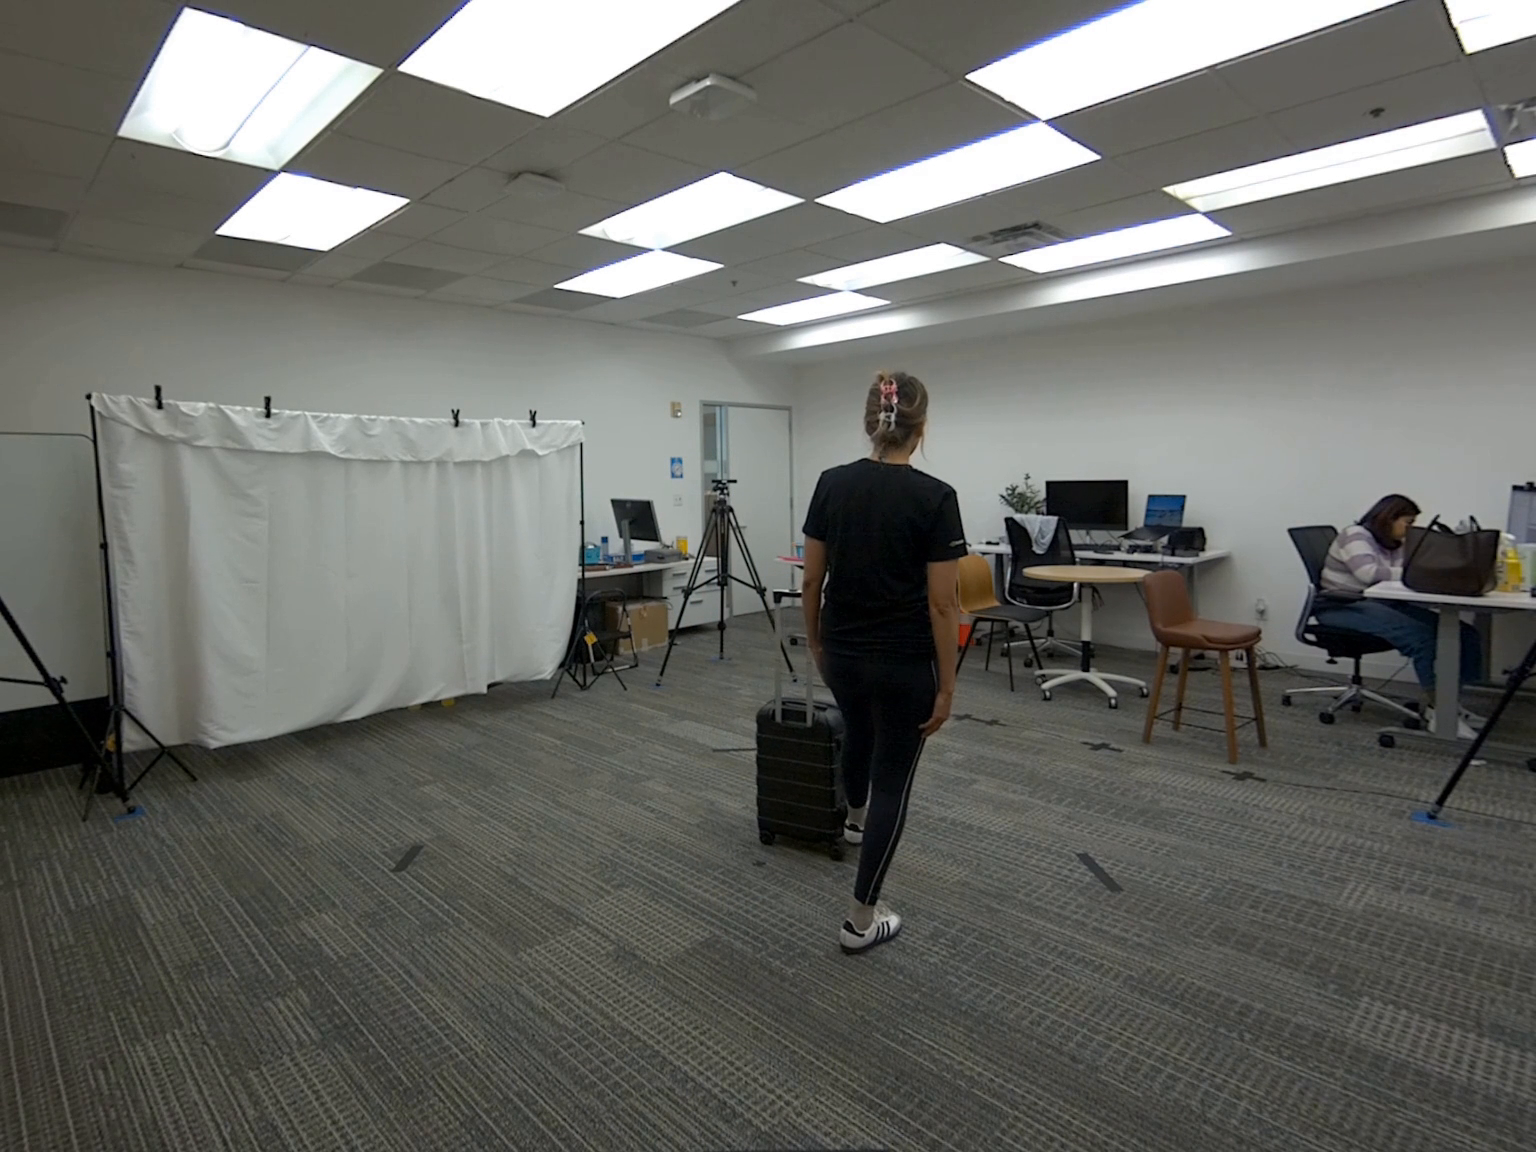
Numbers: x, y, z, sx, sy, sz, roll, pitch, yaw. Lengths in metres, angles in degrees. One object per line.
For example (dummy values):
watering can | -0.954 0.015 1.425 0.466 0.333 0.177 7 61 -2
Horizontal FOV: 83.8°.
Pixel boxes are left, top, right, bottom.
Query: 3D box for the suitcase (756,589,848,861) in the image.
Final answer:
suitcase | 0.147 0.551 3.291 0.393 0.977 0.251 0 2 28
